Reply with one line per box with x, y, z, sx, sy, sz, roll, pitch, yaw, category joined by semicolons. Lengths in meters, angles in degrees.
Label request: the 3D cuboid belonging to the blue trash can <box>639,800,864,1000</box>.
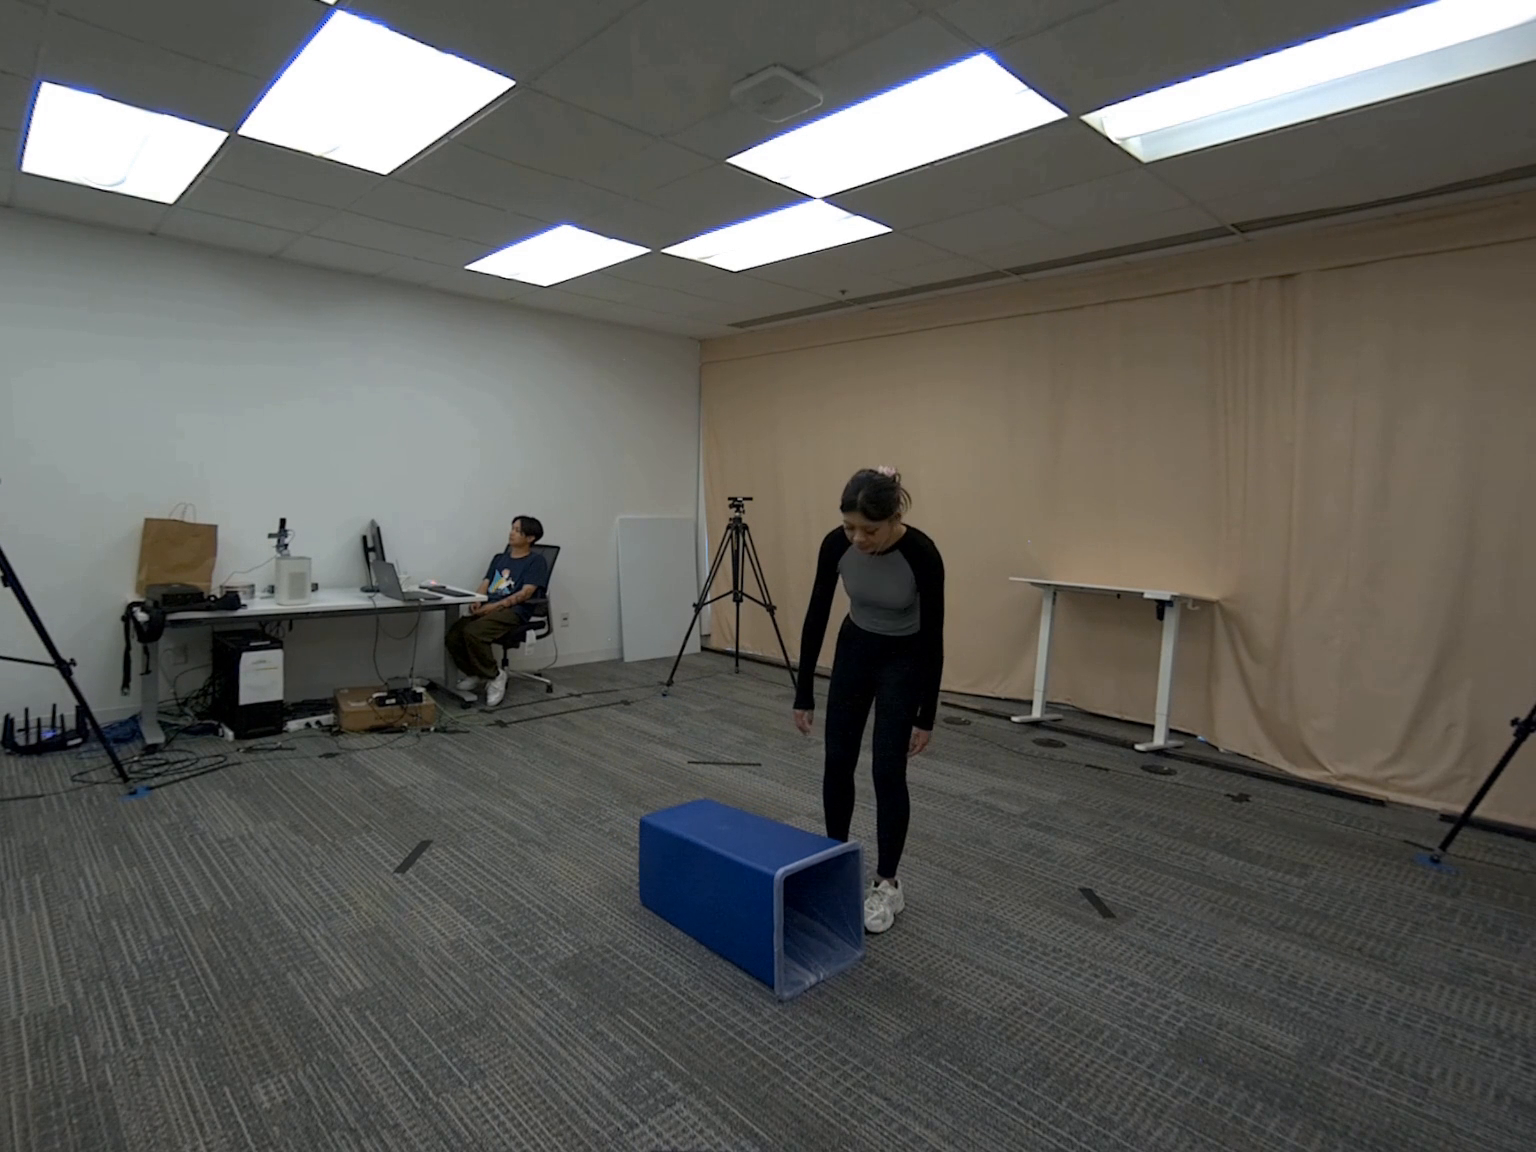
-0.095;0.971;2.697;0.369;0.373;0.731;-3;5;-43;blue trash can
